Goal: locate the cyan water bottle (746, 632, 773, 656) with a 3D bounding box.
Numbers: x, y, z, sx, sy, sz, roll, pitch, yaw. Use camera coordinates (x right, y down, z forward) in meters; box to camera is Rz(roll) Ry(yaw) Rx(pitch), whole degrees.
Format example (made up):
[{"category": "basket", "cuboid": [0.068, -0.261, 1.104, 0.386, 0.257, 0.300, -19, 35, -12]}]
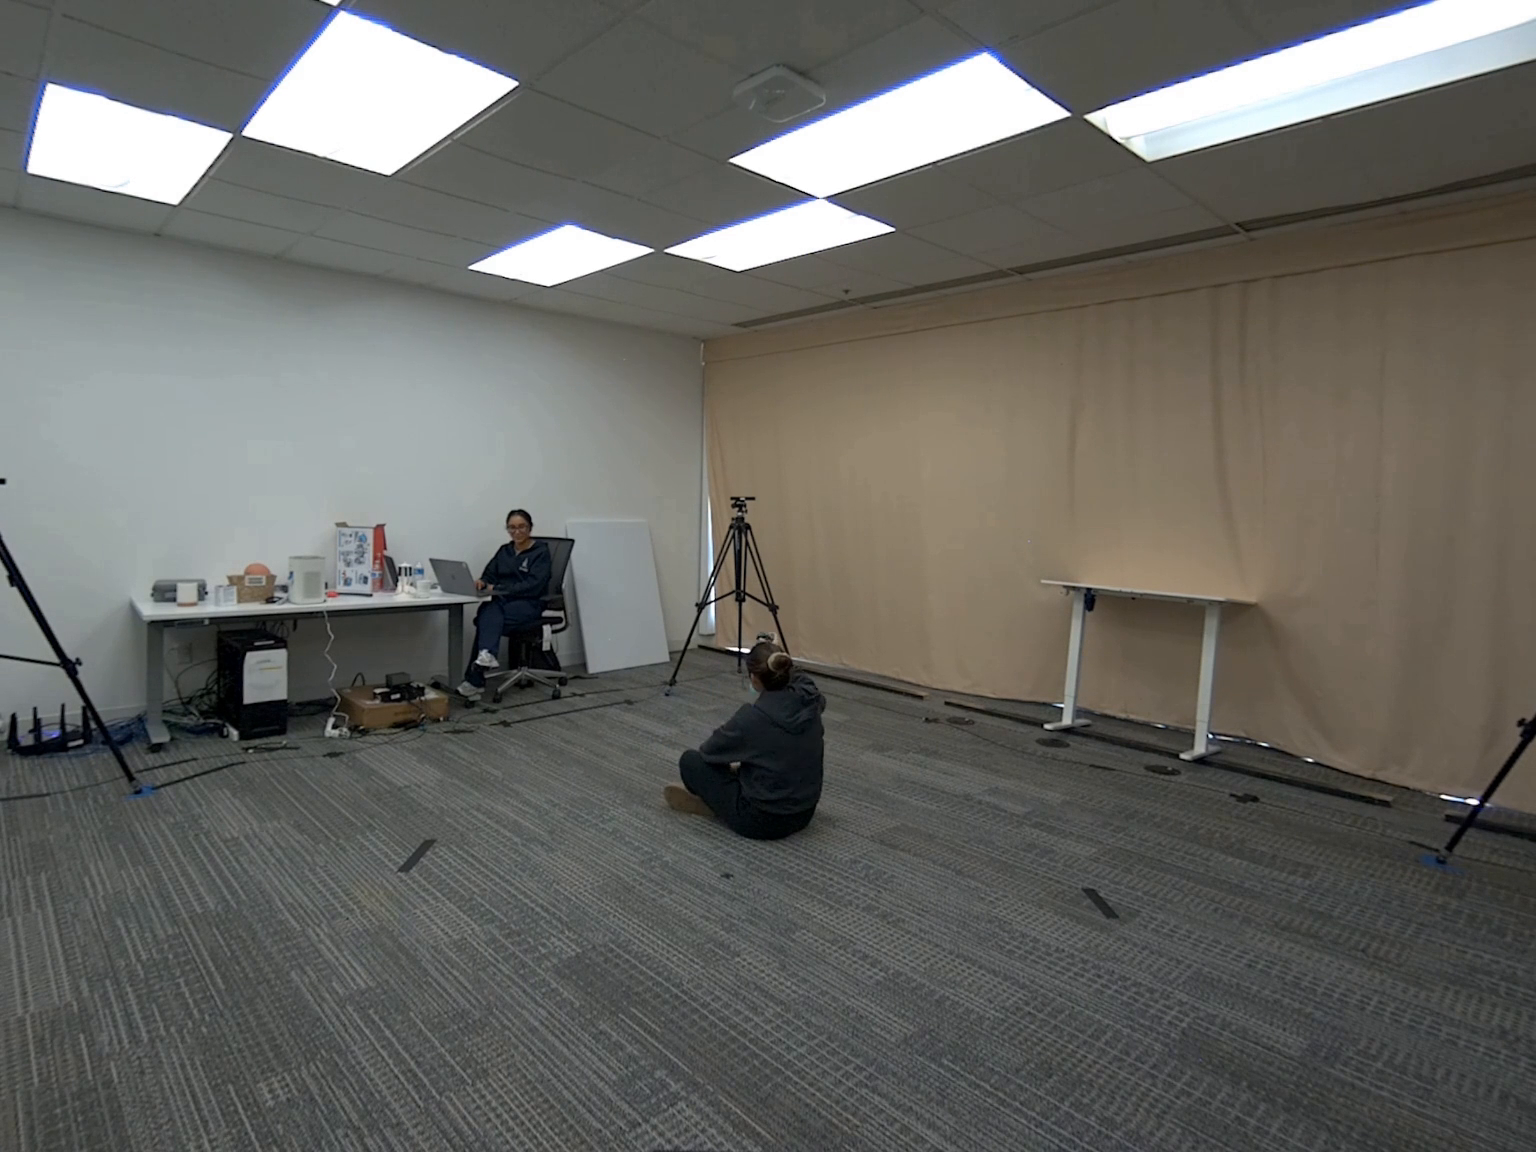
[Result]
[{"category": "cyan water bottle", "cuboid": [-0.046, 0.408, 4.000, 0.092, 0.282, 0.093, 3, 5, -2]}]
